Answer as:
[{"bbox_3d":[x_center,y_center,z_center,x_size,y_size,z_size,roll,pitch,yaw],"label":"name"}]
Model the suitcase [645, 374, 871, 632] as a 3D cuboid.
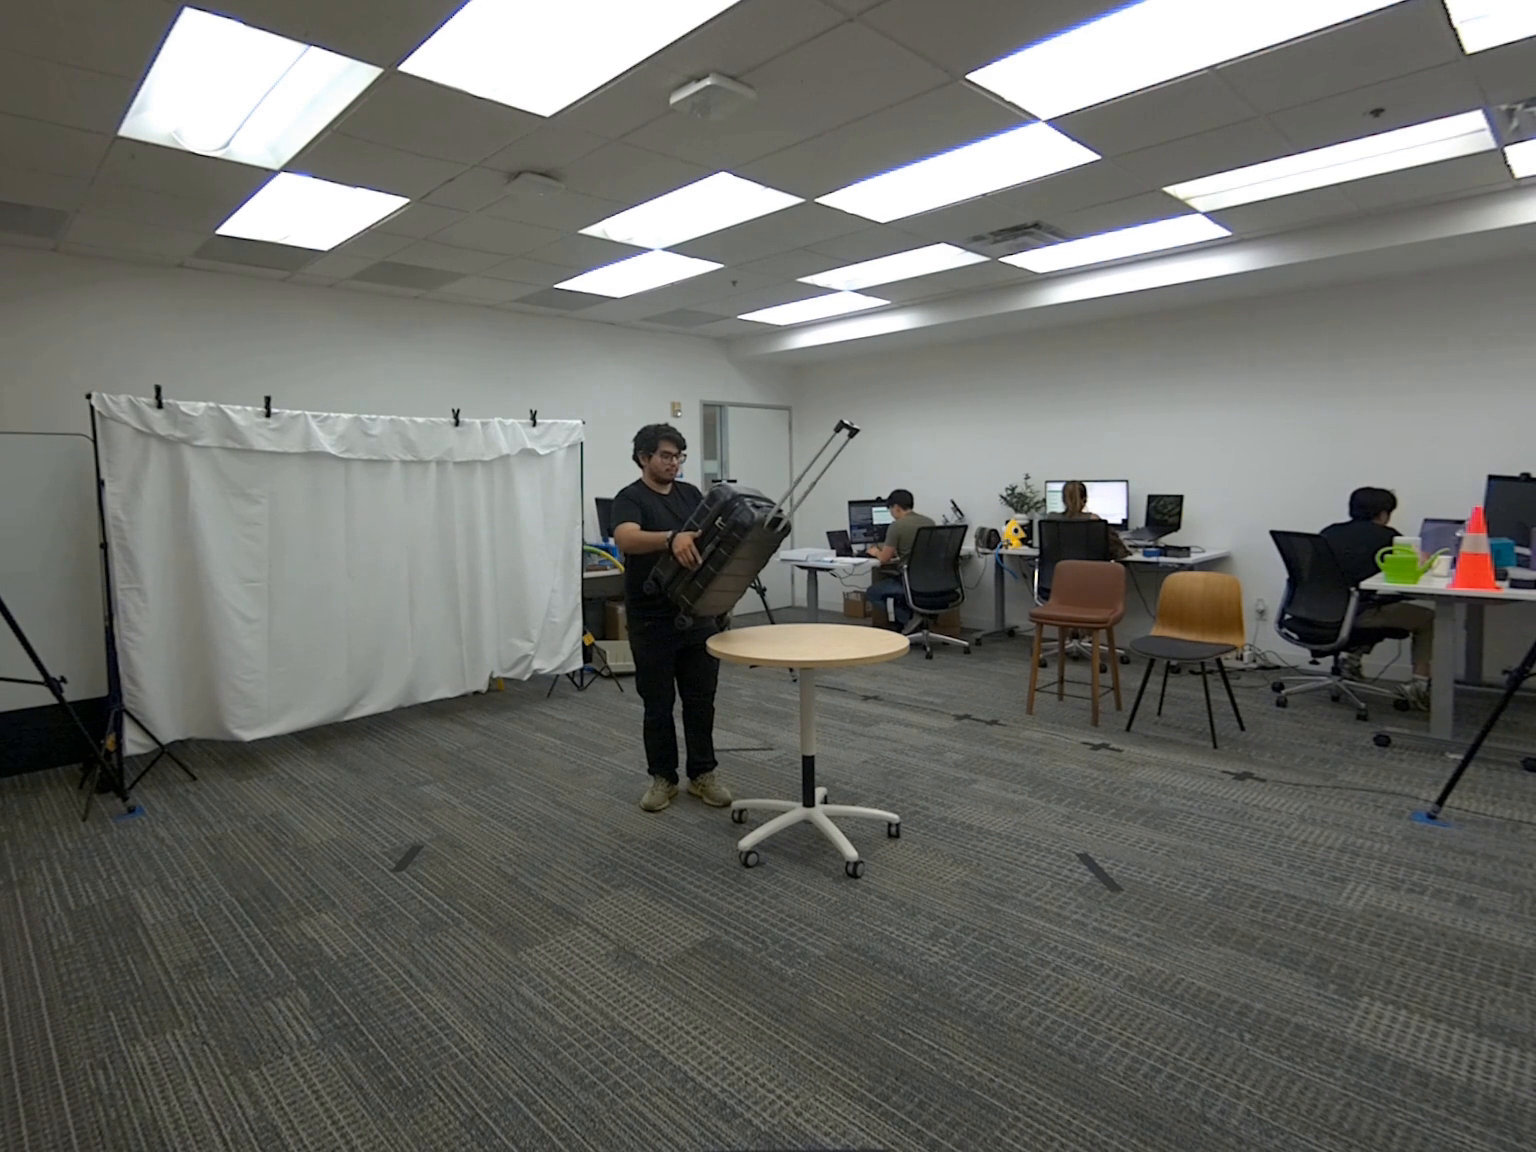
[{"bbox_3d":[-0.063,-0.249,3.286,0.265,0.976,0.373,42,17,26],"label":"suitcase"}]
